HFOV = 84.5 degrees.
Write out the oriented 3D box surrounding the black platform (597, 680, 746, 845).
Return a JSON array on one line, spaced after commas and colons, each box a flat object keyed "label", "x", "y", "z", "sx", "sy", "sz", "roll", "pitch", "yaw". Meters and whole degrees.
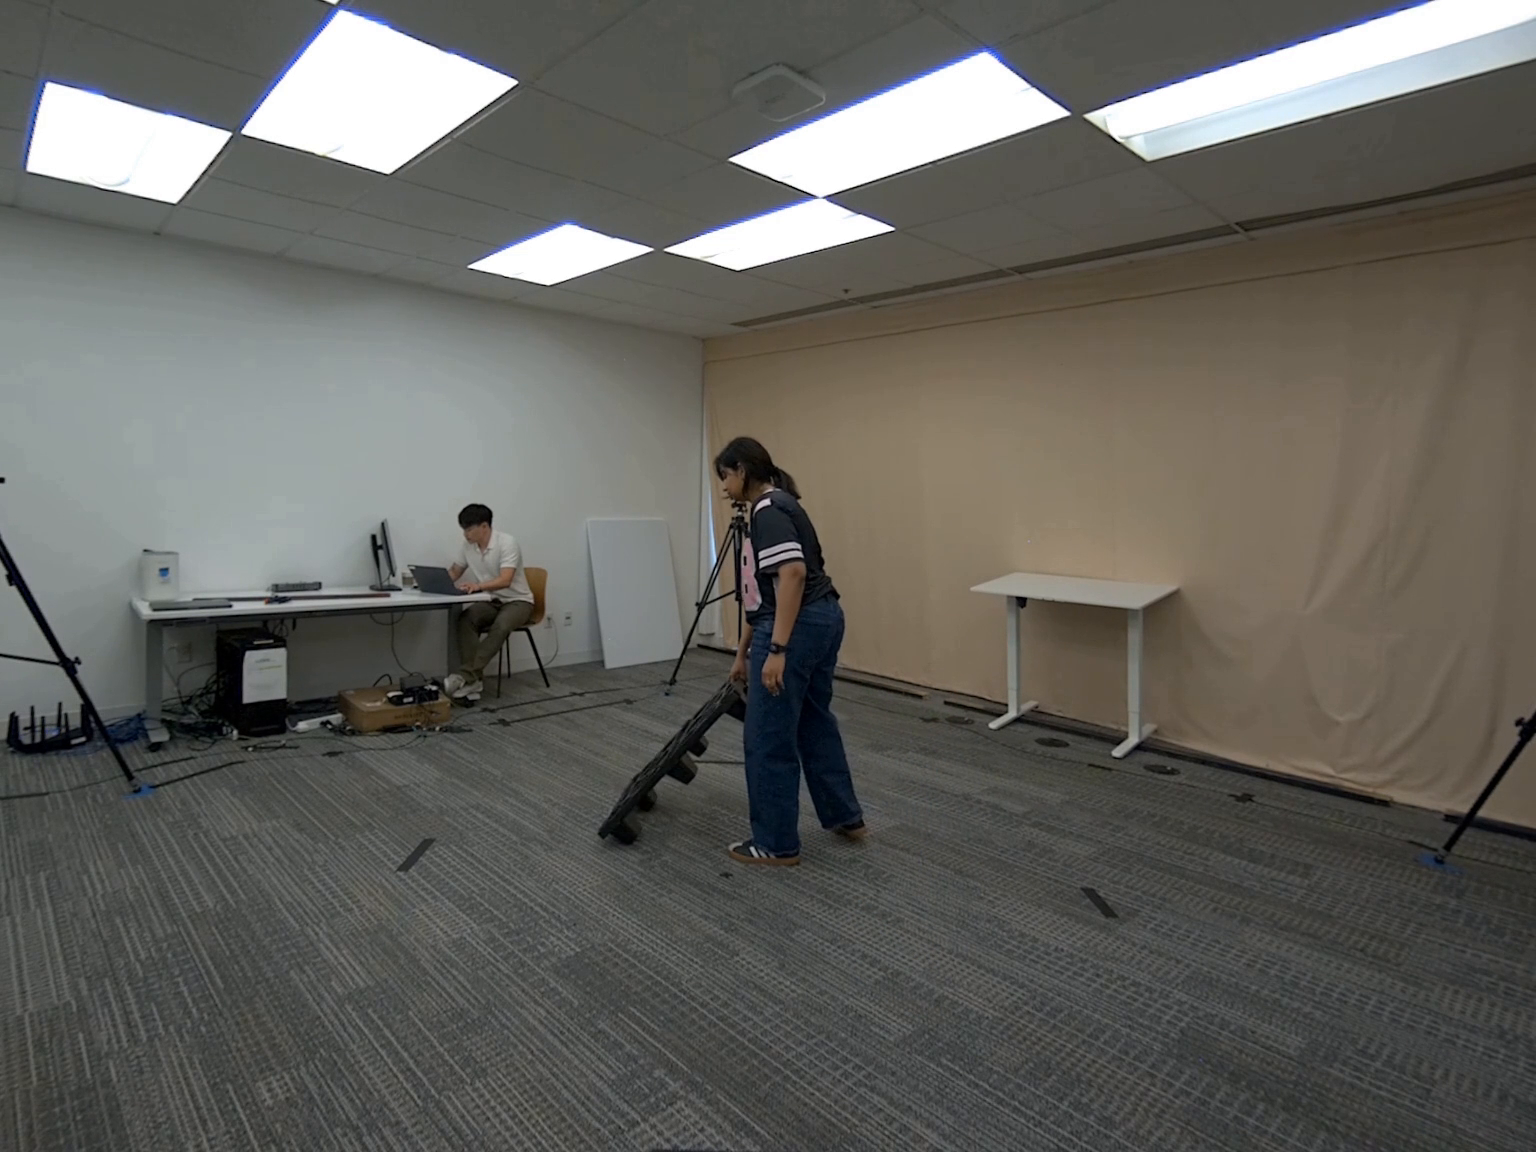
[{"label": "black platform", "x": -0.352, "y": 0.743, "z": 3.556, "sx": 0.143, "sy": 0.805, "sz": 0.604, "roll": 42, "pitch": 5, "yaw": 0}]
